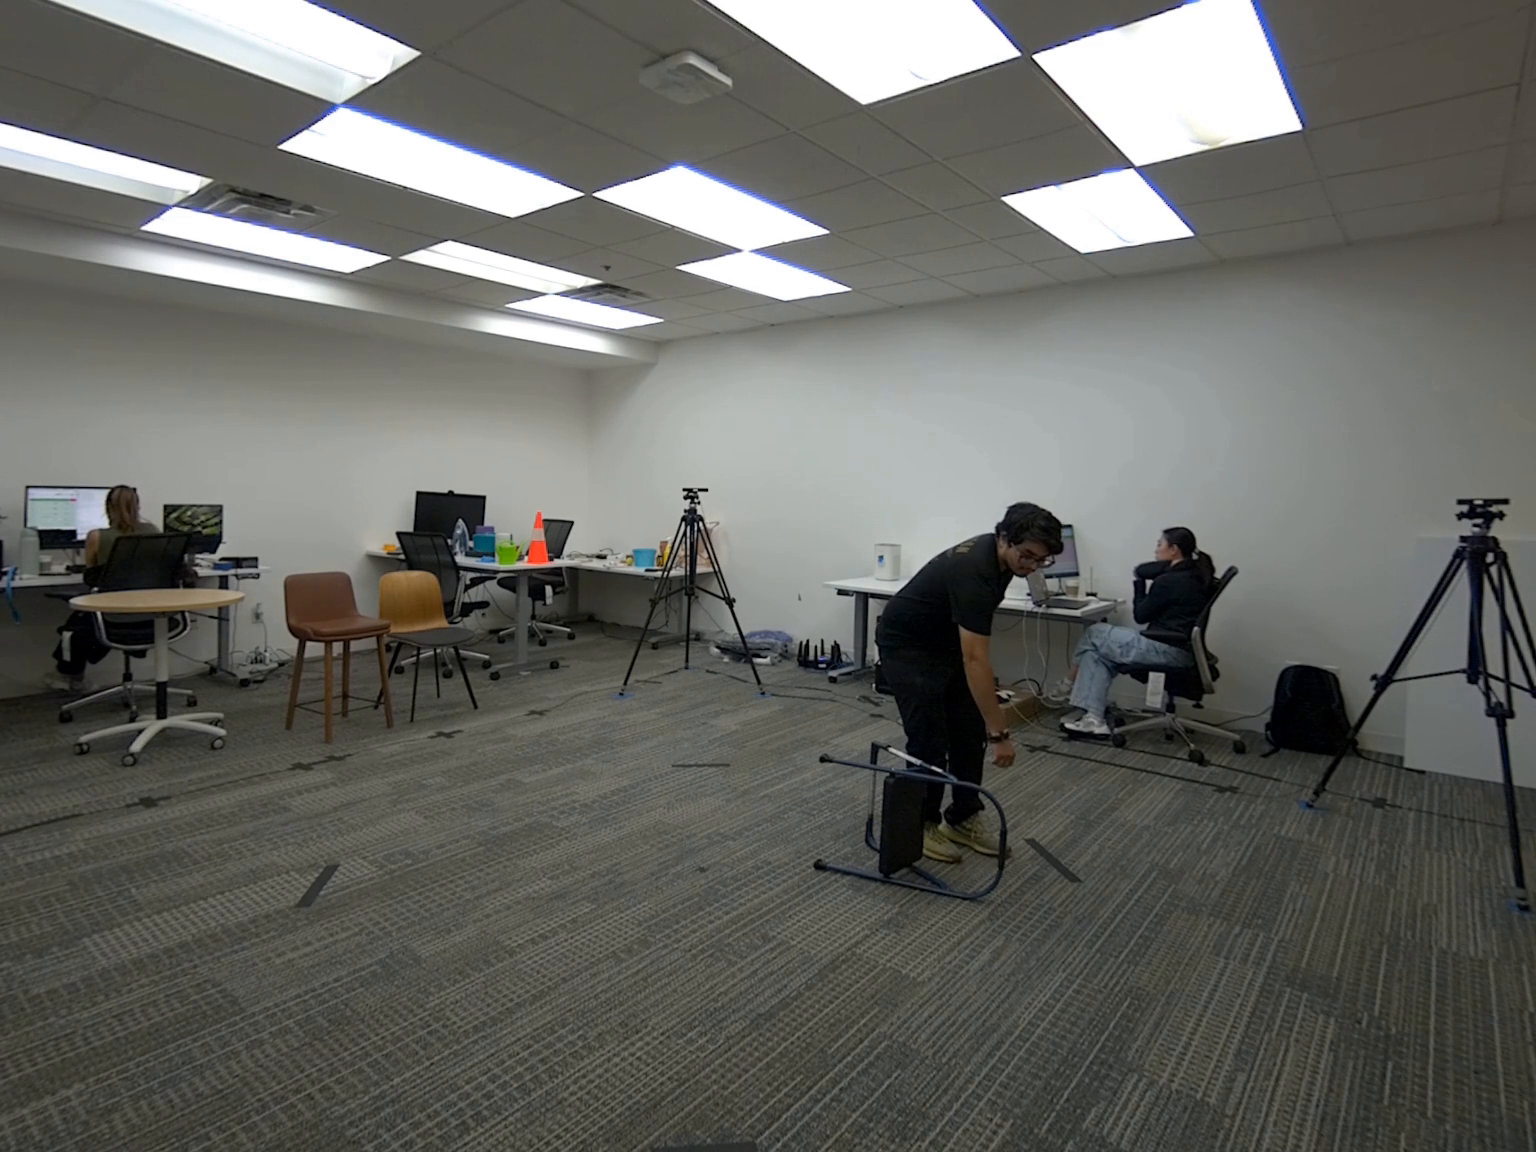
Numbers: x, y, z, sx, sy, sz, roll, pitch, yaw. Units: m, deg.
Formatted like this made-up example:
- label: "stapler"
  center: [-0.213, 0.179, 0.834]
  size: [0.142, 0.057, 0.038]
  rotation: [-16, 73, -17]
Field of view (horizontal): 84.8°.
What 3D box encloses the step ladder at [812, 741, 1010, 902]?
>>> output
- label: "step ladder"
  center: [0.511, 0.885, 3.032]
  size: [0.628, 0.428, 0.339]
  rotation: [8, 8, 42]
